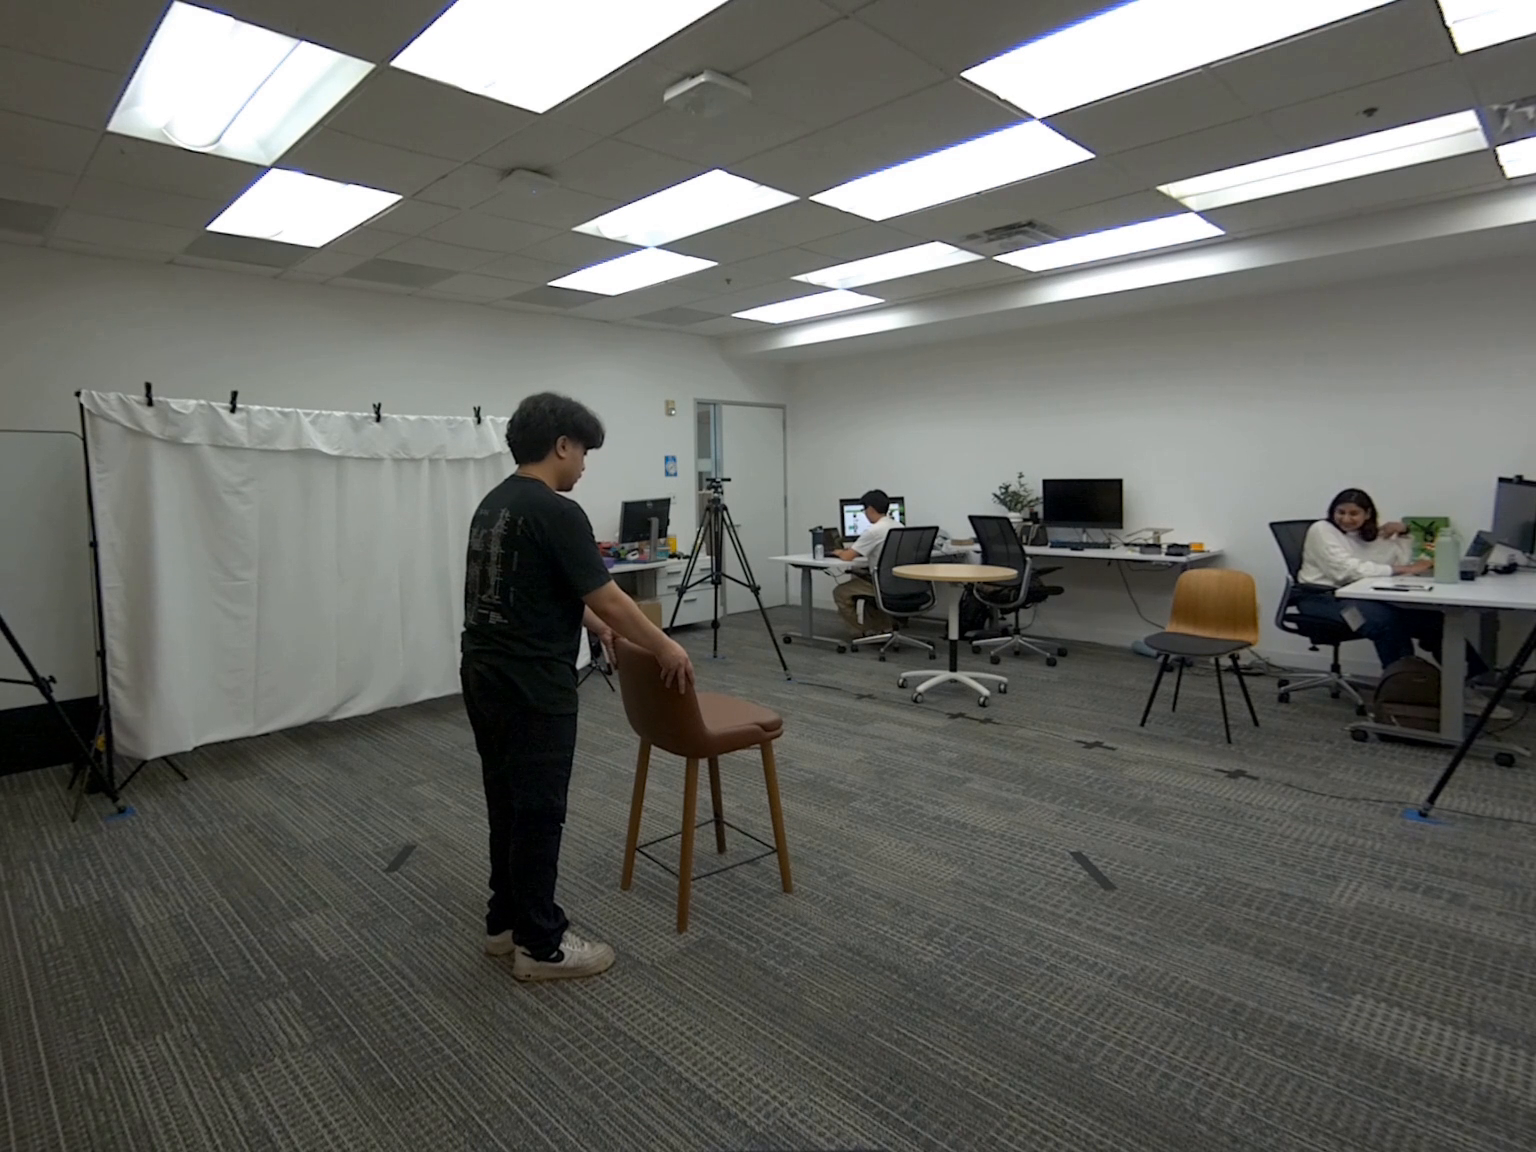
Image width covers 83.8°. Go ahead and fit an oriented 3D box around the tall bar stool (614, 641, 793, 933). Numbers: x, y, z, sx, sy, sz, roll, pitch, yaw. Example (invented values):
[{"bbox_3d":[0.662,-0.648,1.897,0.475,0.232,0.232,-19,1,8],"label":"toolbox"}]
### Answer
[{"bbox_3d":[-0.228,0.633,2.879,0.456,0.885,0.470,-6,7,-37],"label":"tall bar stool"}]
